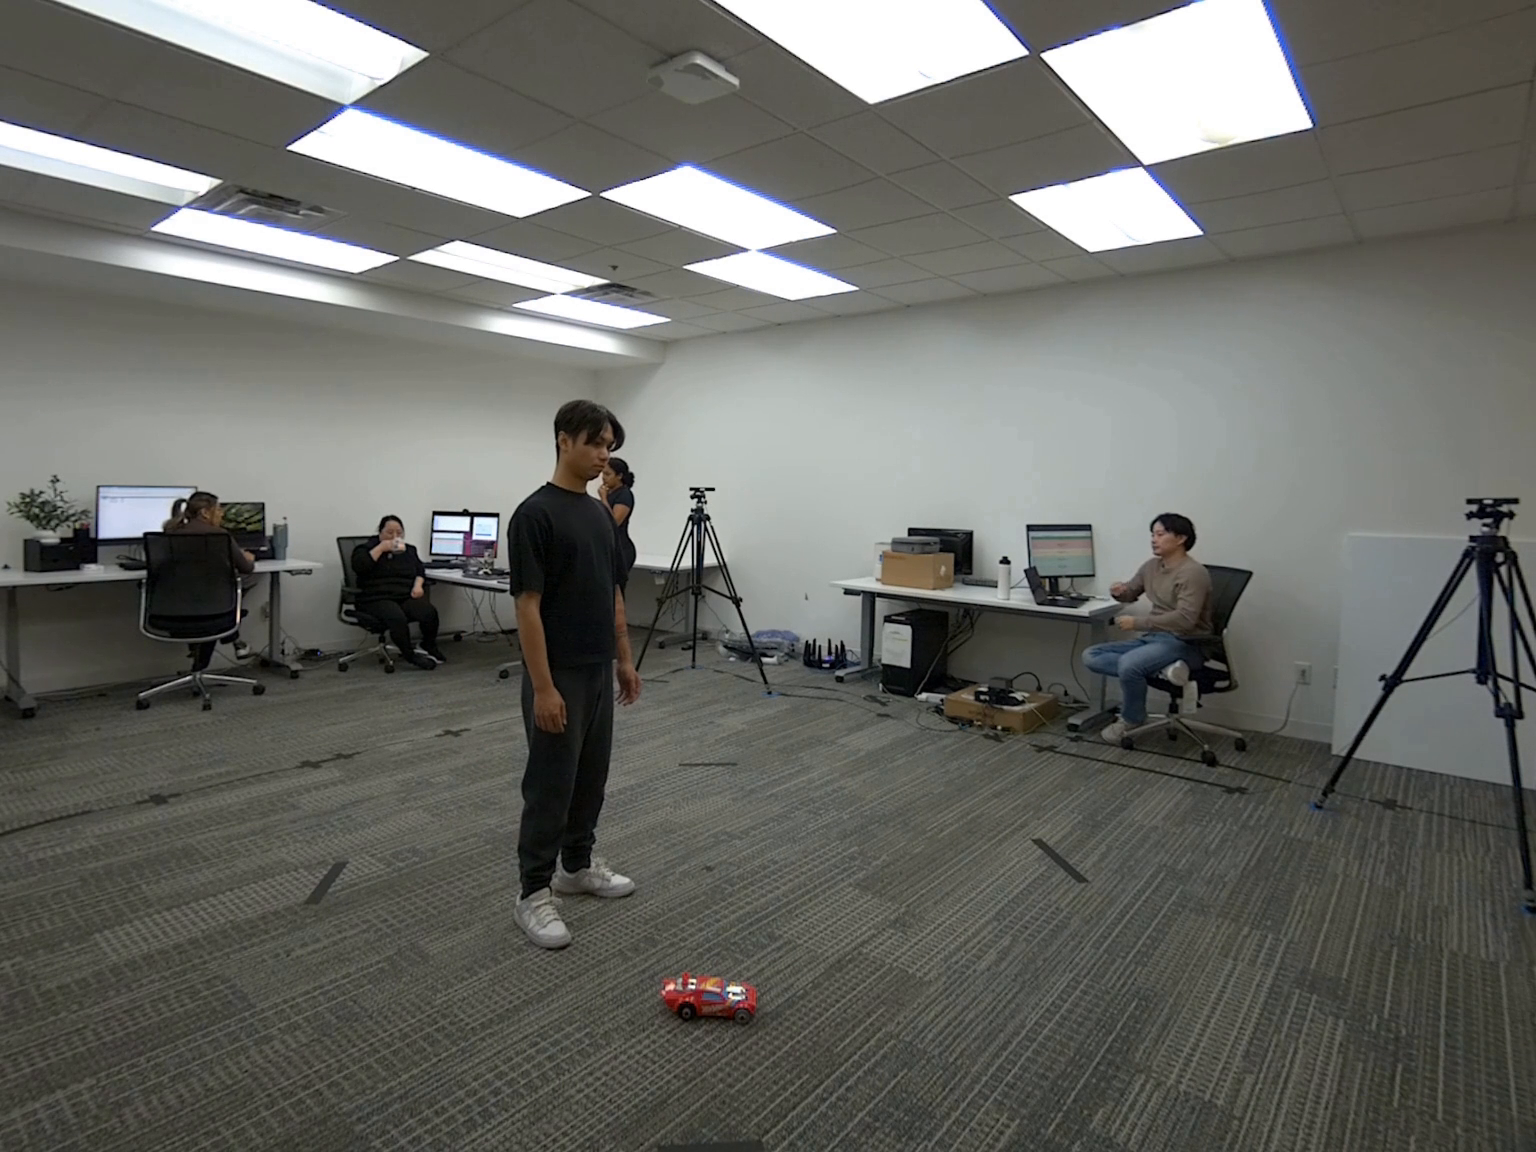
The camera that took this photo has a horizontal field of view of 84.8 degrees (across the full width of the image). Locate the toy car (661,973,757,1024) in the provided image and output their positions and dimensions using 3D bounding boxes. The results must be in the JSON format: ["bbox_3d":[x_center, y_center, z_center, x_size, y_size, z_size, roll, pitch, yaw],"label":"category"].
[{"bbox_3d":[-0.165,1.121,2.265,0.255,0.083,0.130,12,4,3],"label":"toy car"}]
